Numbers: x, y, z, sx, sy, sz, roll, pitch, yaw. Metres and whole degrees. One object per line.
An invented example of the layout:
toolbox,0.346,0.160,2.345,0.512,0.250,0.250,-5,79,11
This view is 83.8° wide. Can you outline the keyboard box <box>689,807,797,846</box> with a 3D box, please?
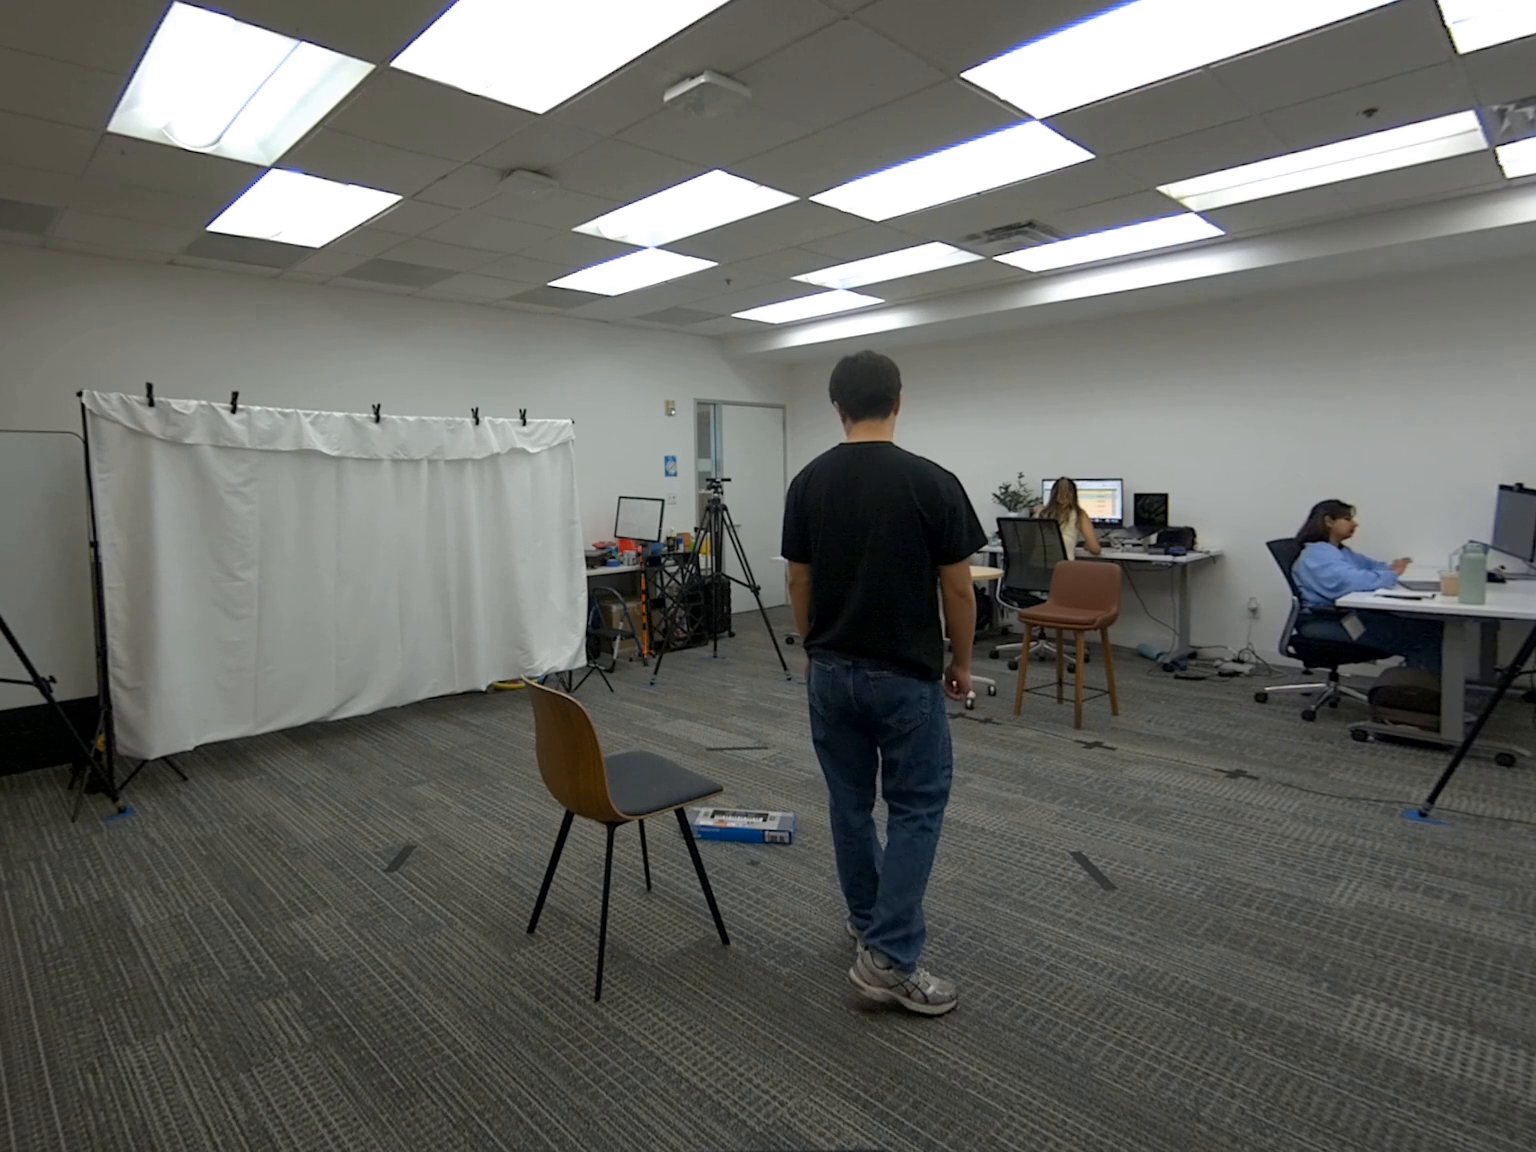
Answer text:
keyboard box,-0.114,0.985,3.371,0.441,0.059,0.175,0,7,10
